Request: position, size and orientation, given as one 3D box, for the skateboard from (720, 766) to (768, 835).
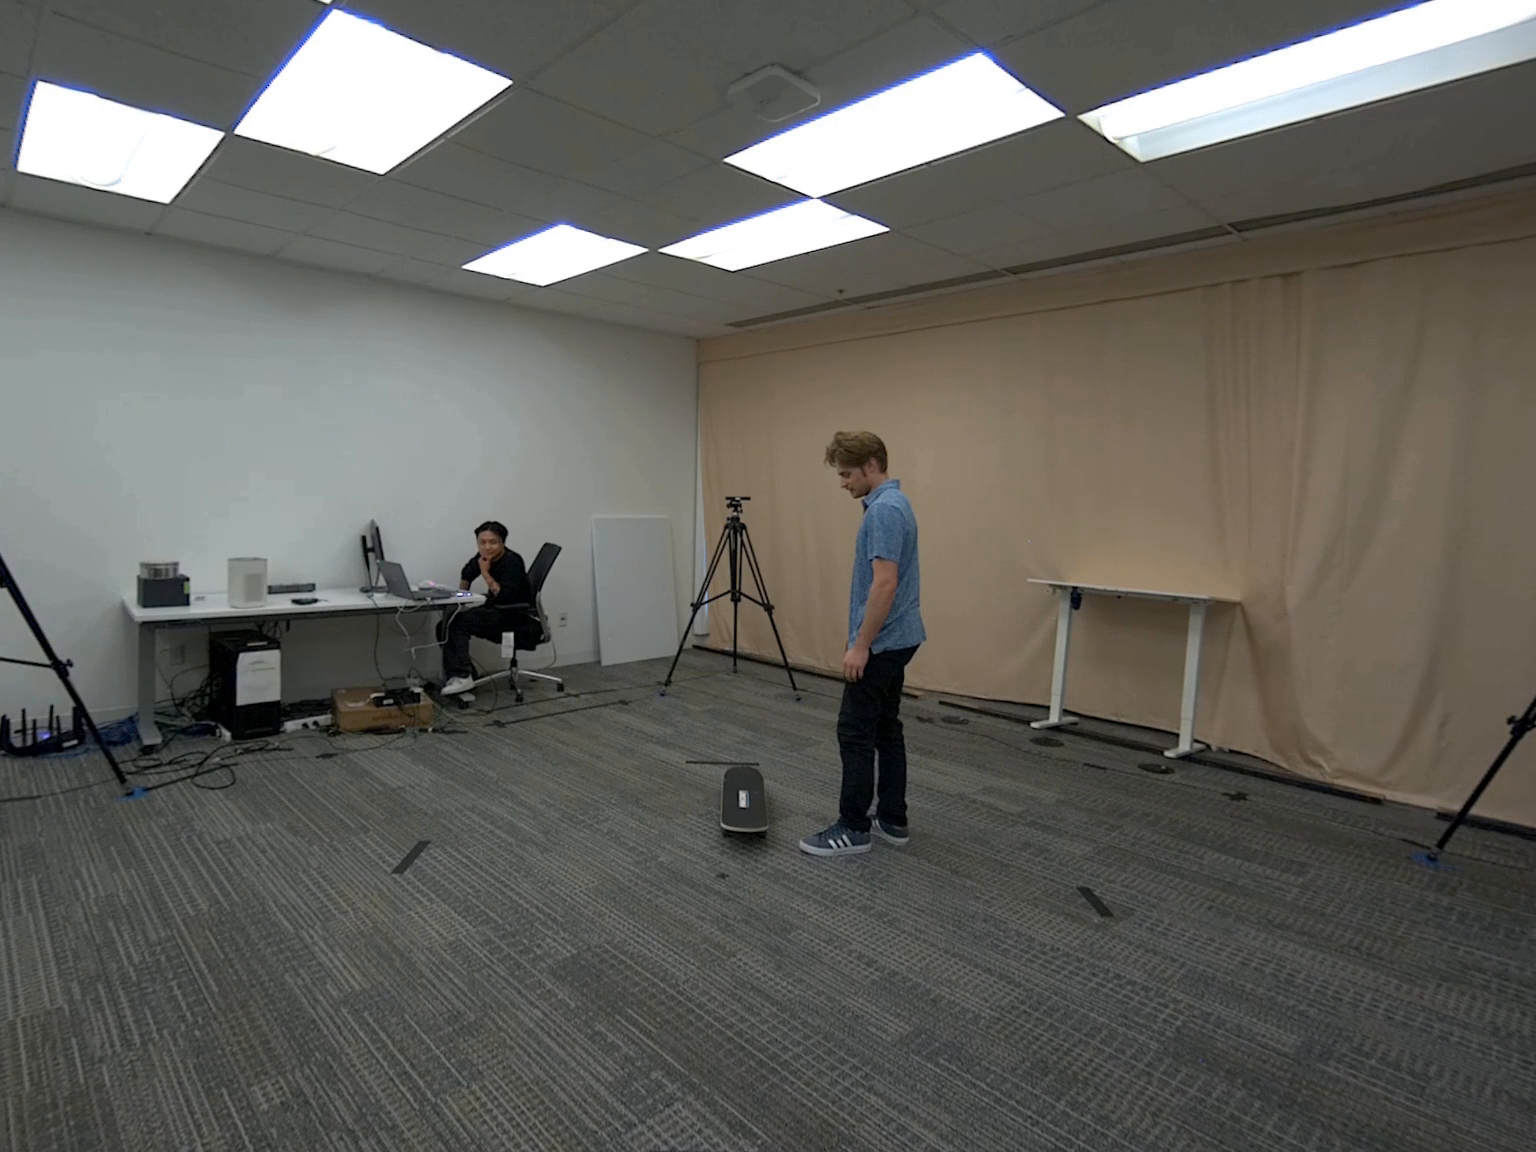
[{"bbox_3d":[-0.113,1.000,3.669,0.193,0.110,0.788,1,5,-2],"label":"skateboard"}]
